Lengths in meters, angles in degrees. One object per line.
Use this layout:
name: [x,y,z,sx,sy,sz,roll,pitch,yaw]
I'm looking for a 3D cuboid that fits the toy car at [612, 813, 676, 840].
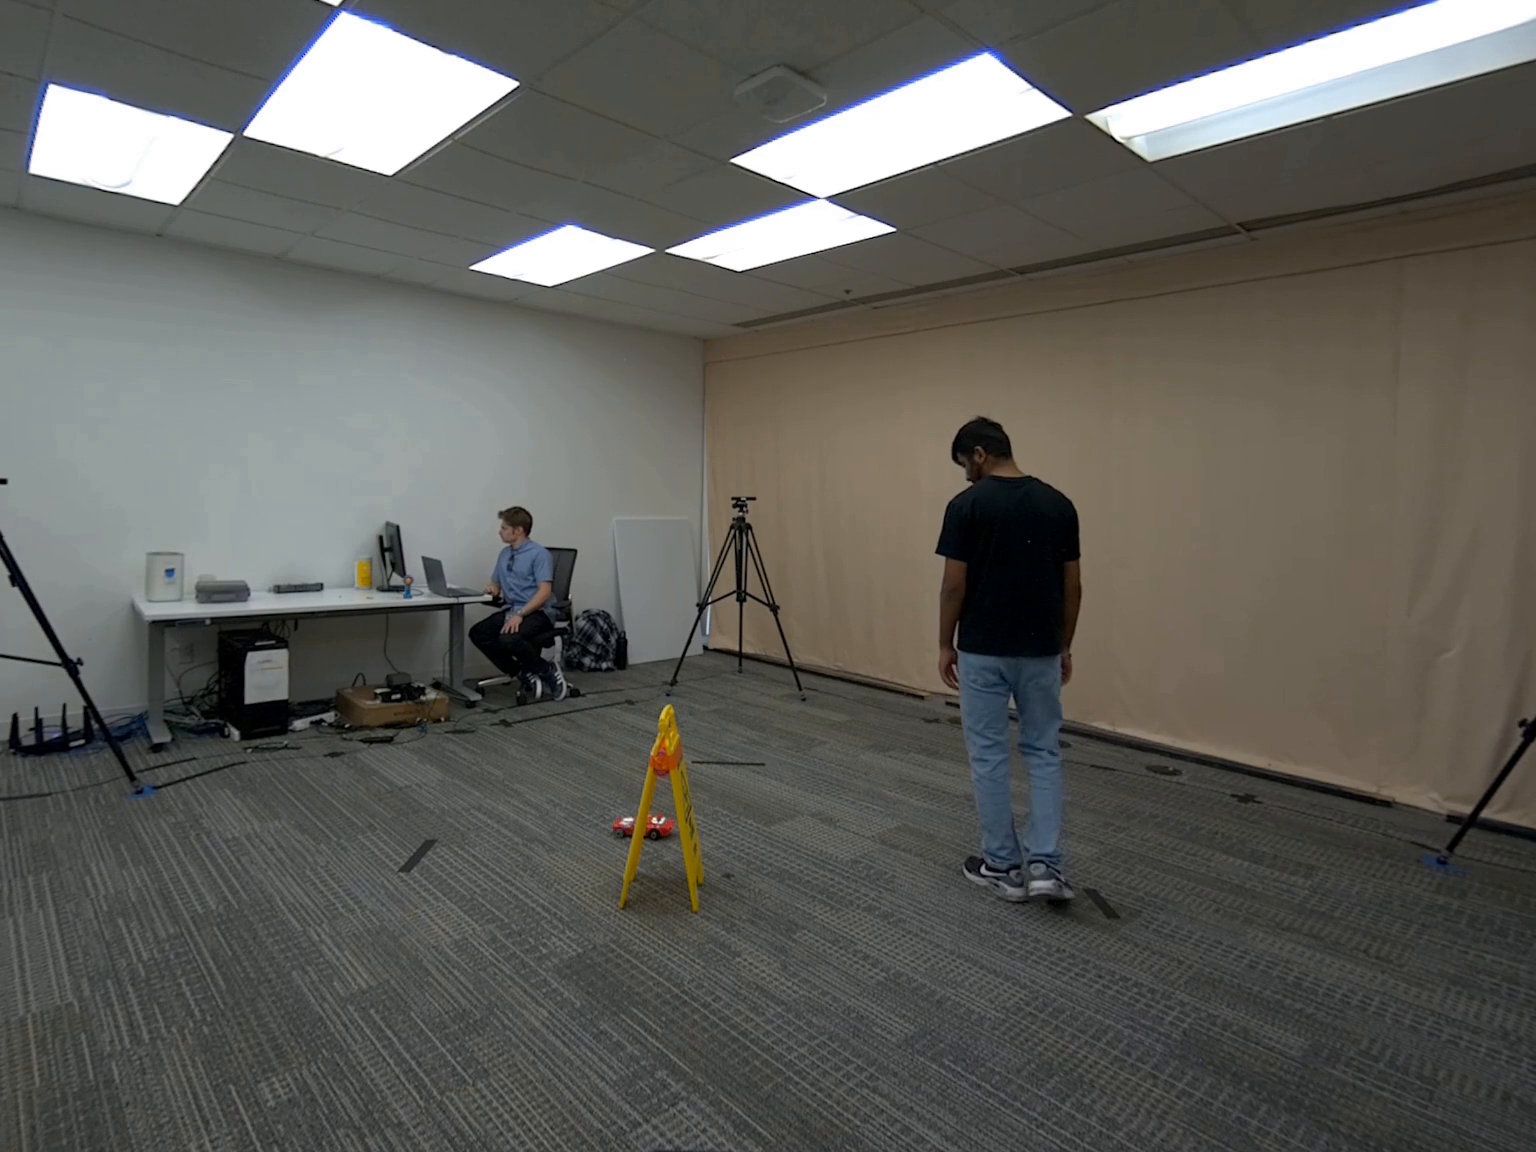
toy car: [-0.516,1.032,3.471,0.256,0.083,0.130,-9,4,6]
